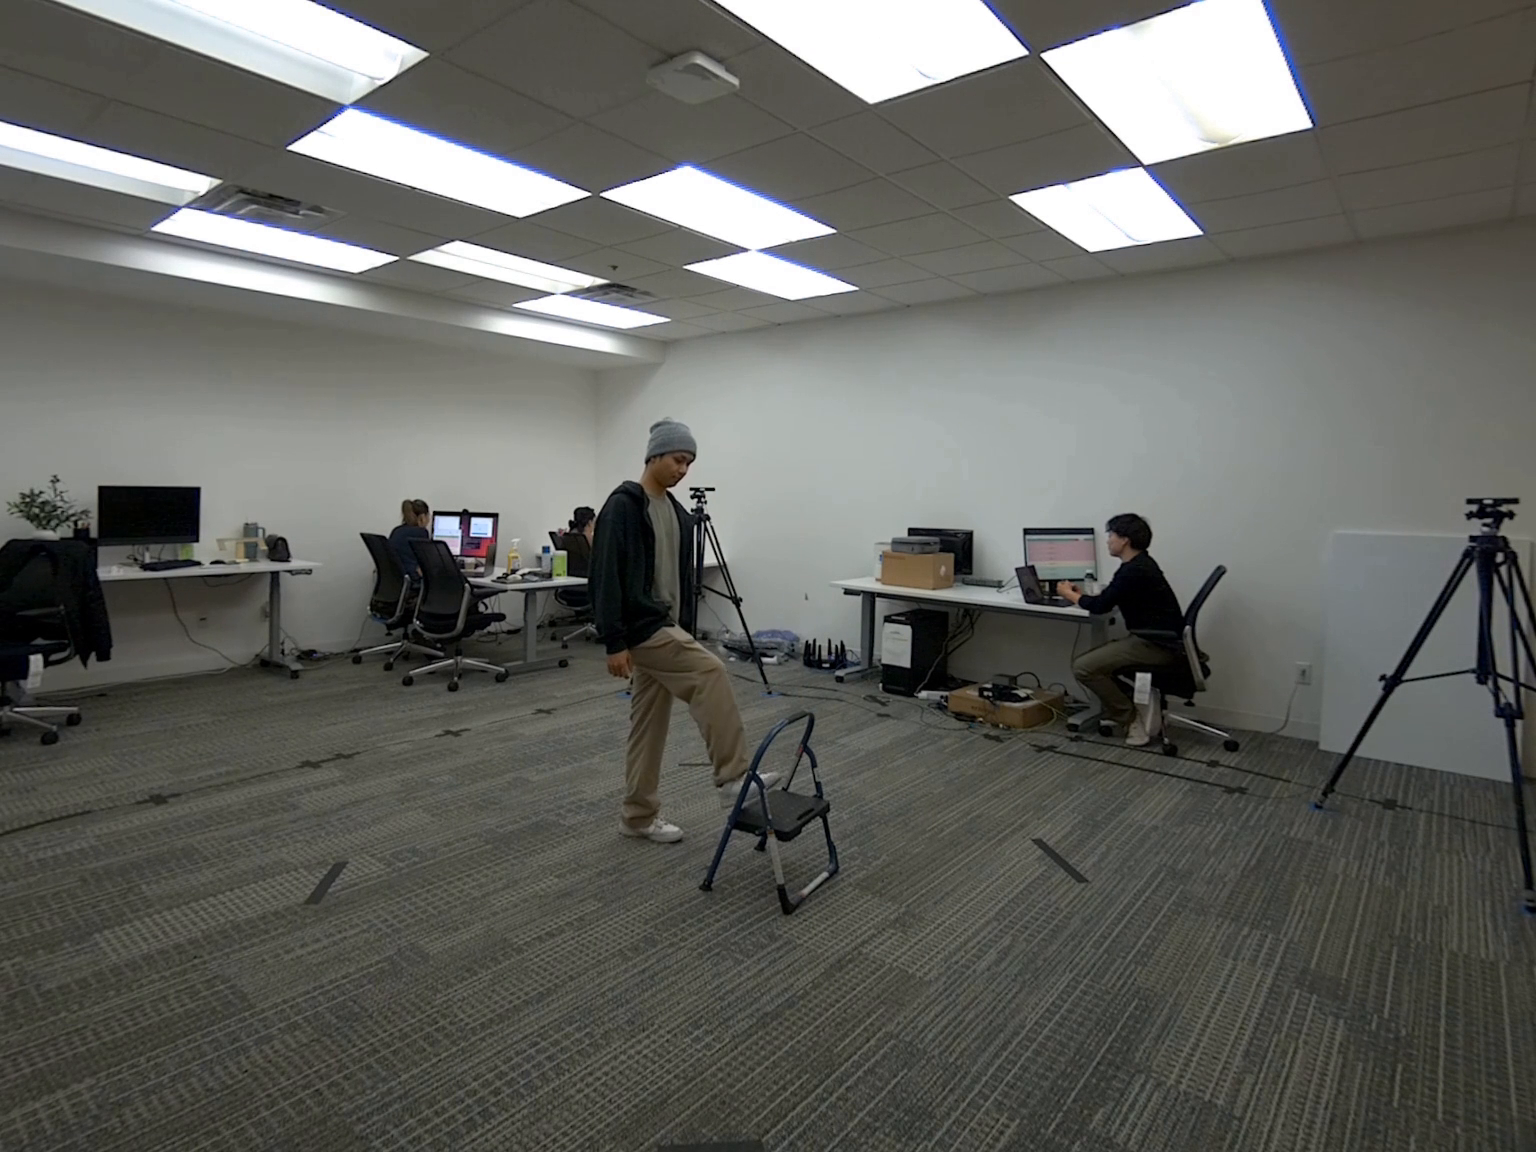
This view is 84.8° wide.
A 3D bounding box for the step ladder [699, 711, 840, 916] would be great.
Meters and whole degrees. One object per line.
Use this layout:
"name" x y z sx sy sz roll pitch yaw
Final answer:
"step ladder" 0.016 0.776 3.017 0.359 0.604 0.419 4 4 29
